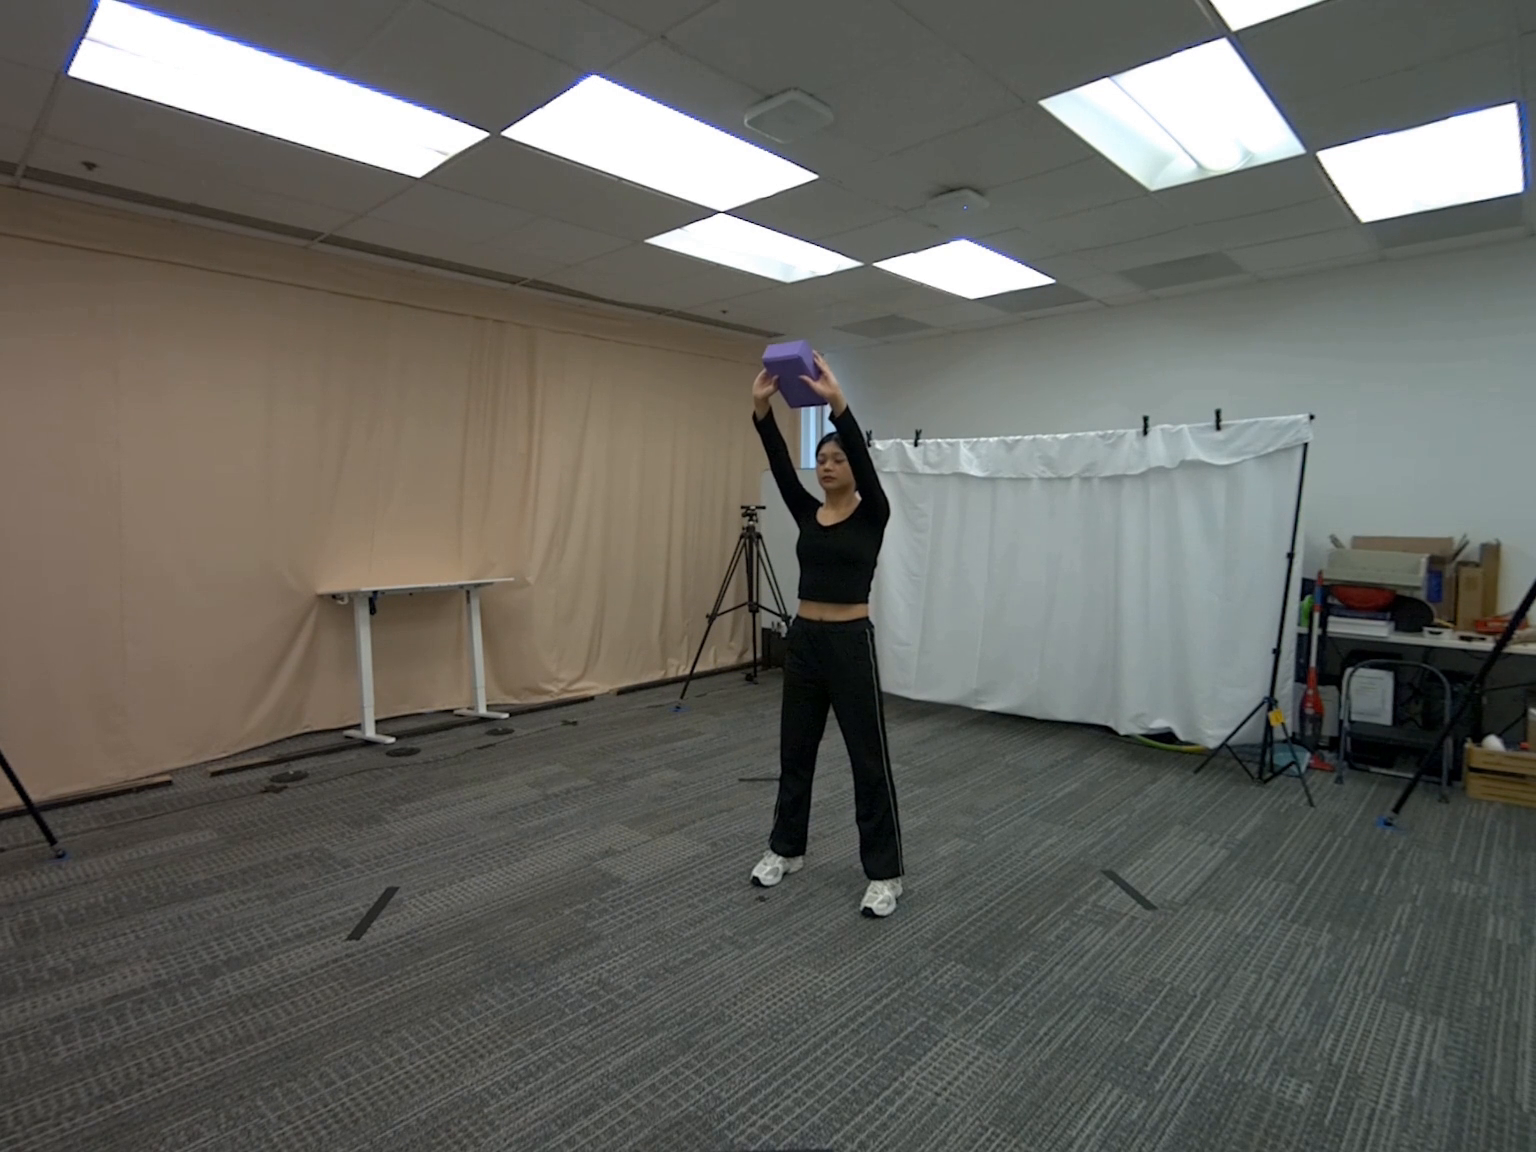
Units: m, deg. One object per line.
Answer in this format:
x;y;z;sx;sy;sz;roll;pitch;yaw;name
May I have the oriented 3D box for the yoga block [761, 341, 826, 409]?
0.097;-0.635;2.683;0.154;0.077;0.221;3;-32;35;yoga block
